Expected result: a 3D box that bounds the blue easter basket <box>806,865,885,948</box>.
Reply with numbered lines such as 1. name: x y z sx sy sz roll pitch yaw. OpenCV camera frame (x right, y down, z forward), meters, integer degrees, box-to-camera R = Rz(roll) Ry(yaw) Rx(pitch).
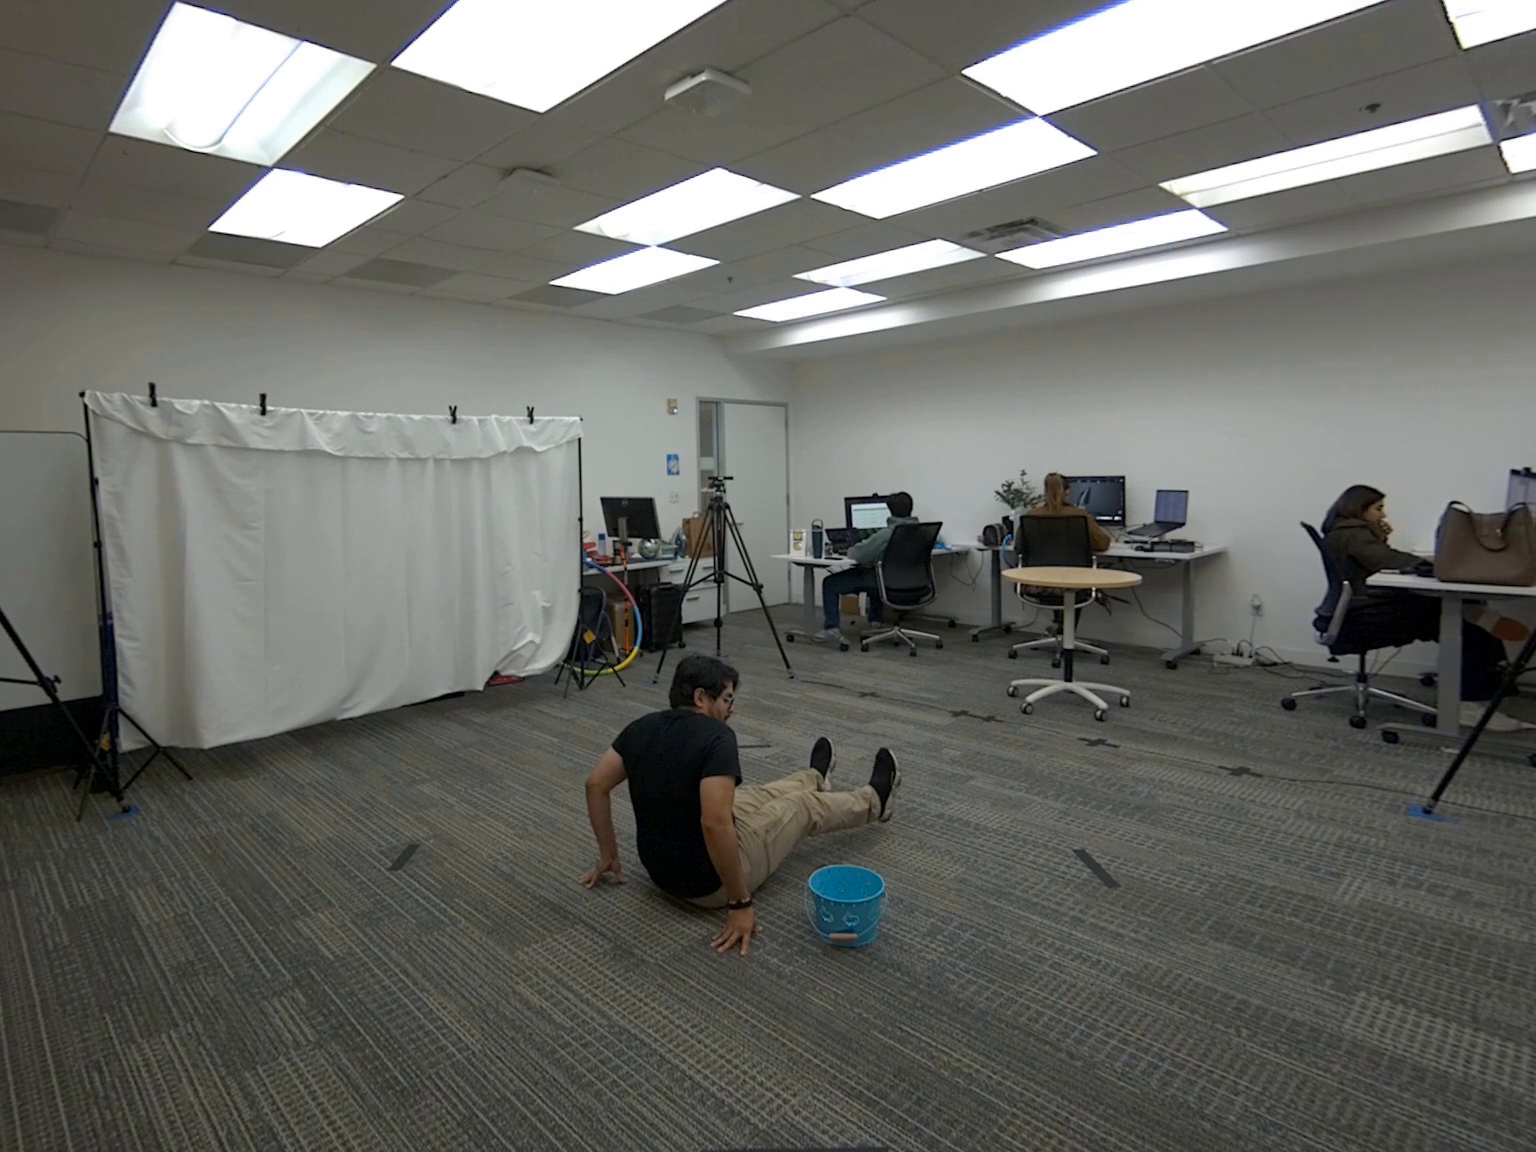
1. blue easter basket: 0.245 1.012 2.597 0.243 0.155 0.245 -3 6 -1
